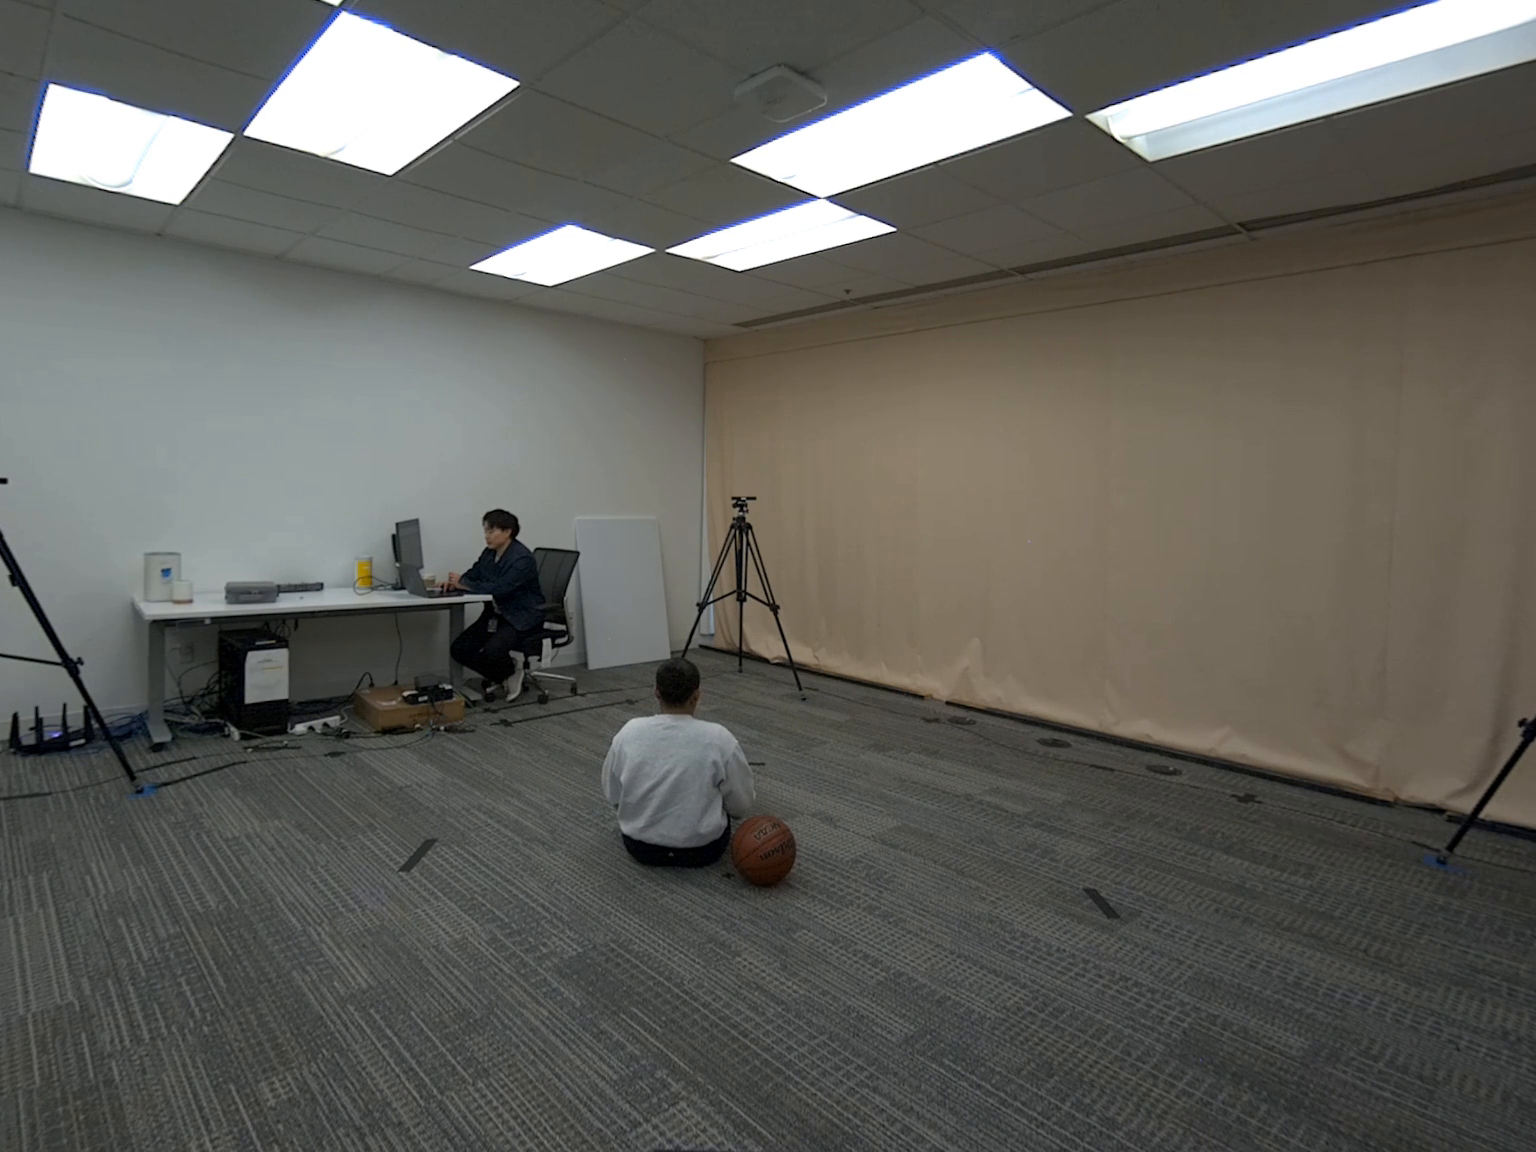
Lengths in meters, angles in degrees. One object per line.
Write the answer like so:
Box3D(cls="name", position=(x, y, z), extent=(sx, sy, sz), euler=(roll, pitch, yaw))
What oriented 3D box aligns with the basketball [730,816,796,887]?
Box3D(cls="basketball", position=(-0.025, 0.990, 3.053), extent=(0.236, 0.235, 0.237), euler=(1, 4, -1))
